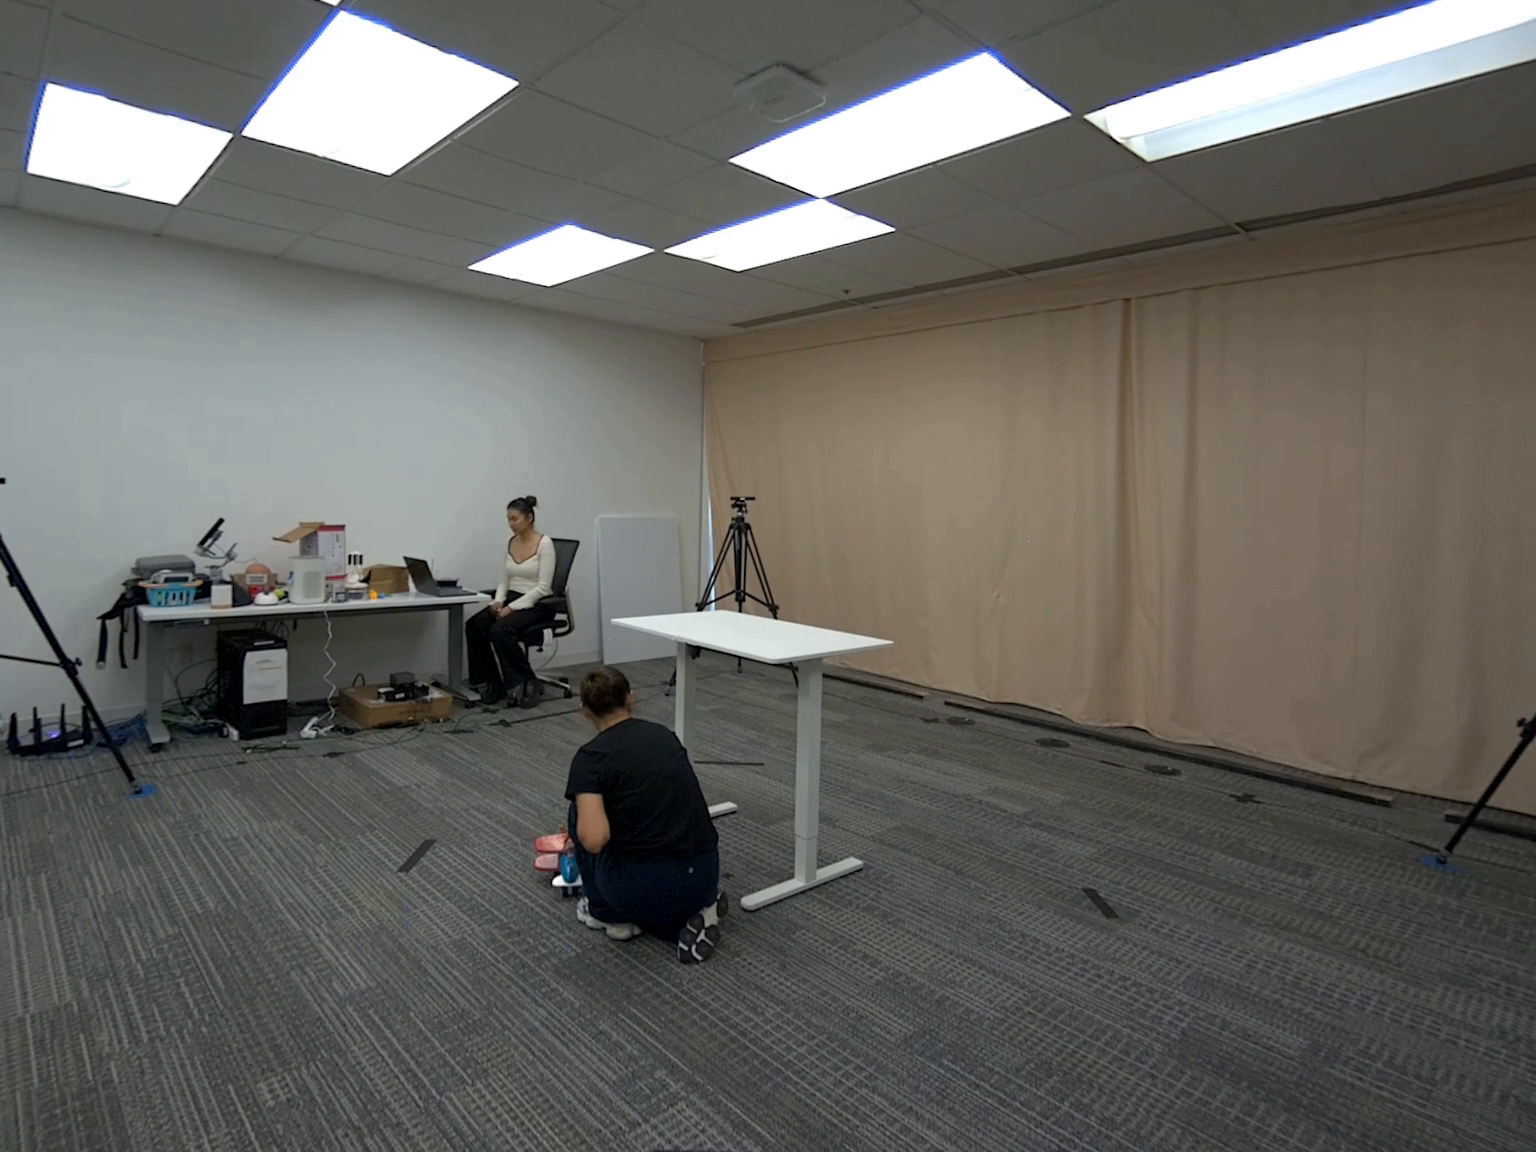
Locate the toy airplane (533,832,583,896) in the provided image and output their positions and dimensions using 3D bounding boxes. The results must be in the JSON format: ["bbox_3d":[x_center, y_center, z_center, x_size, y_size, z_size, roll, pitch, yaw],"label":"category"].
[{"bbox_3d":[-0.690,1.023,3.015,0.245,0.156,0.266,-3,6,-41],"label":"toy airplane"}]
